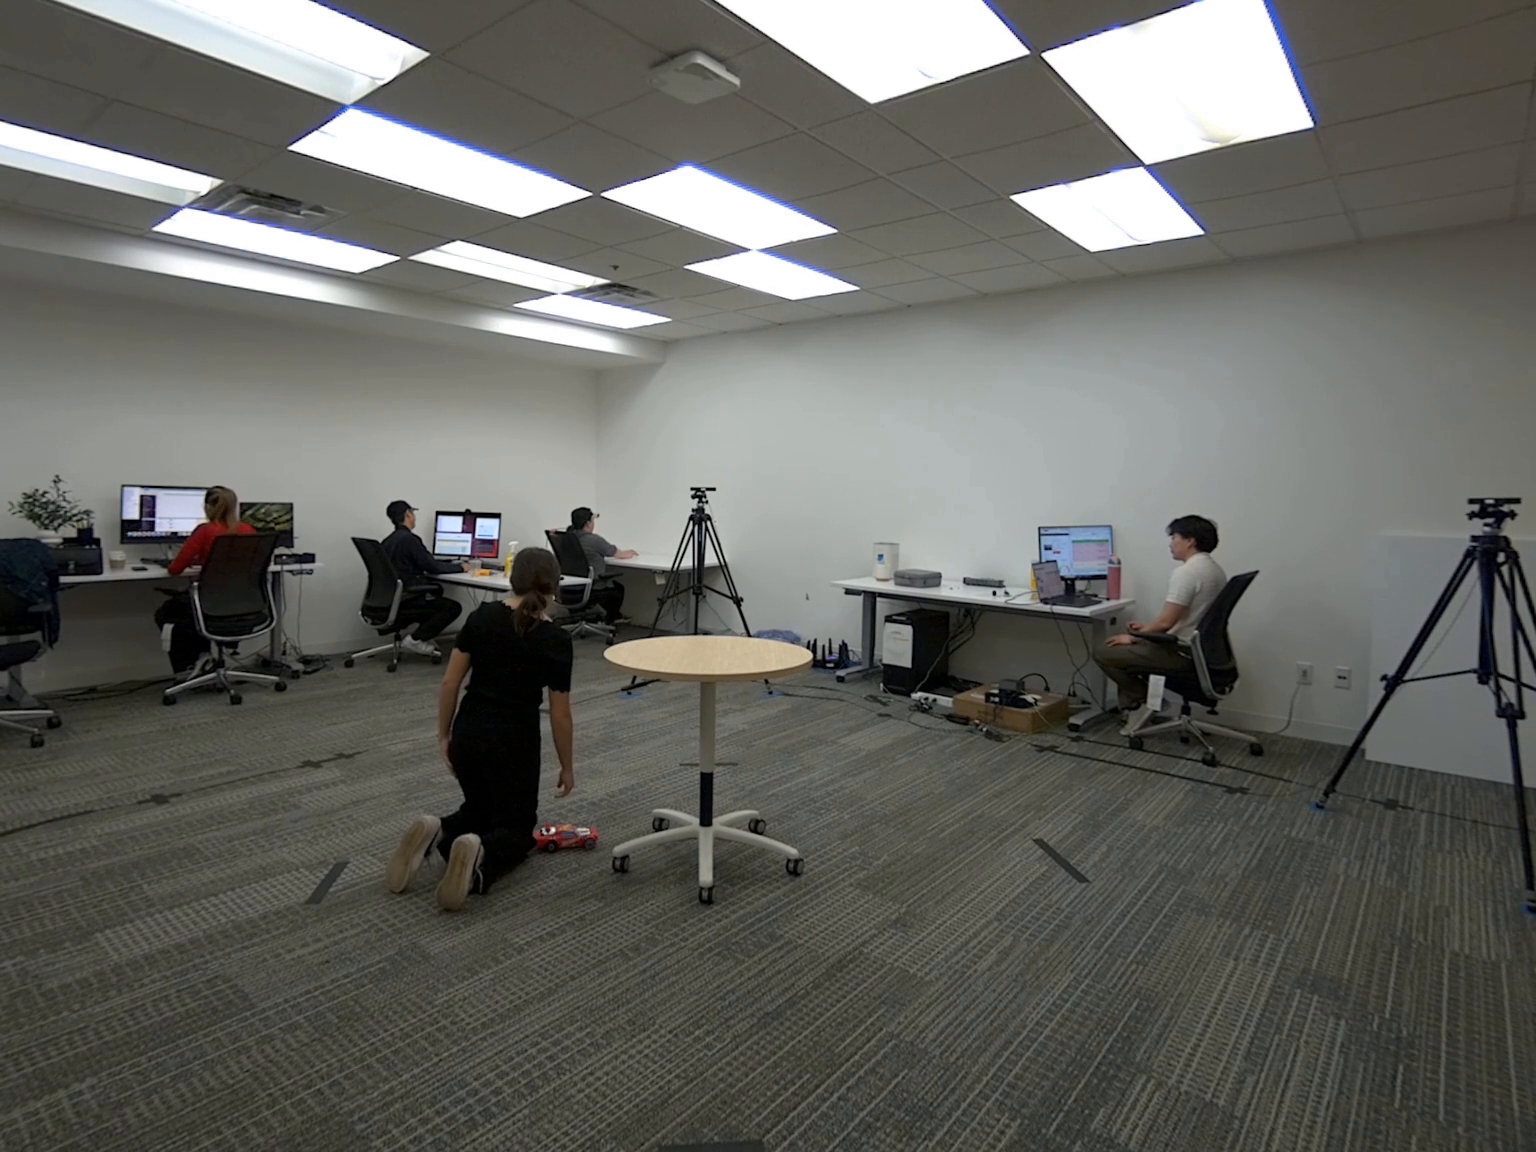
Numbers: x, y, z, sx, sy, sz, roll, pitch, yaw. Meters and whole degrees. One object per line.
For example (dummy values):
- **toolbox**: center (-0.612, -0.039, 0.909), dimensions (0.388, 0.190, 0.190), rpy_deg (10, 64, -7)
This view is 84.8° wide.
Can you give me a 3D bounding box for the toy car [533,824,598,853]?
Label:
- **toy car**: center (-0.804, 1.012, 3.278), dimensions (0.250, 0.083, 0.133), rpy_deg (12, 2, -16)
